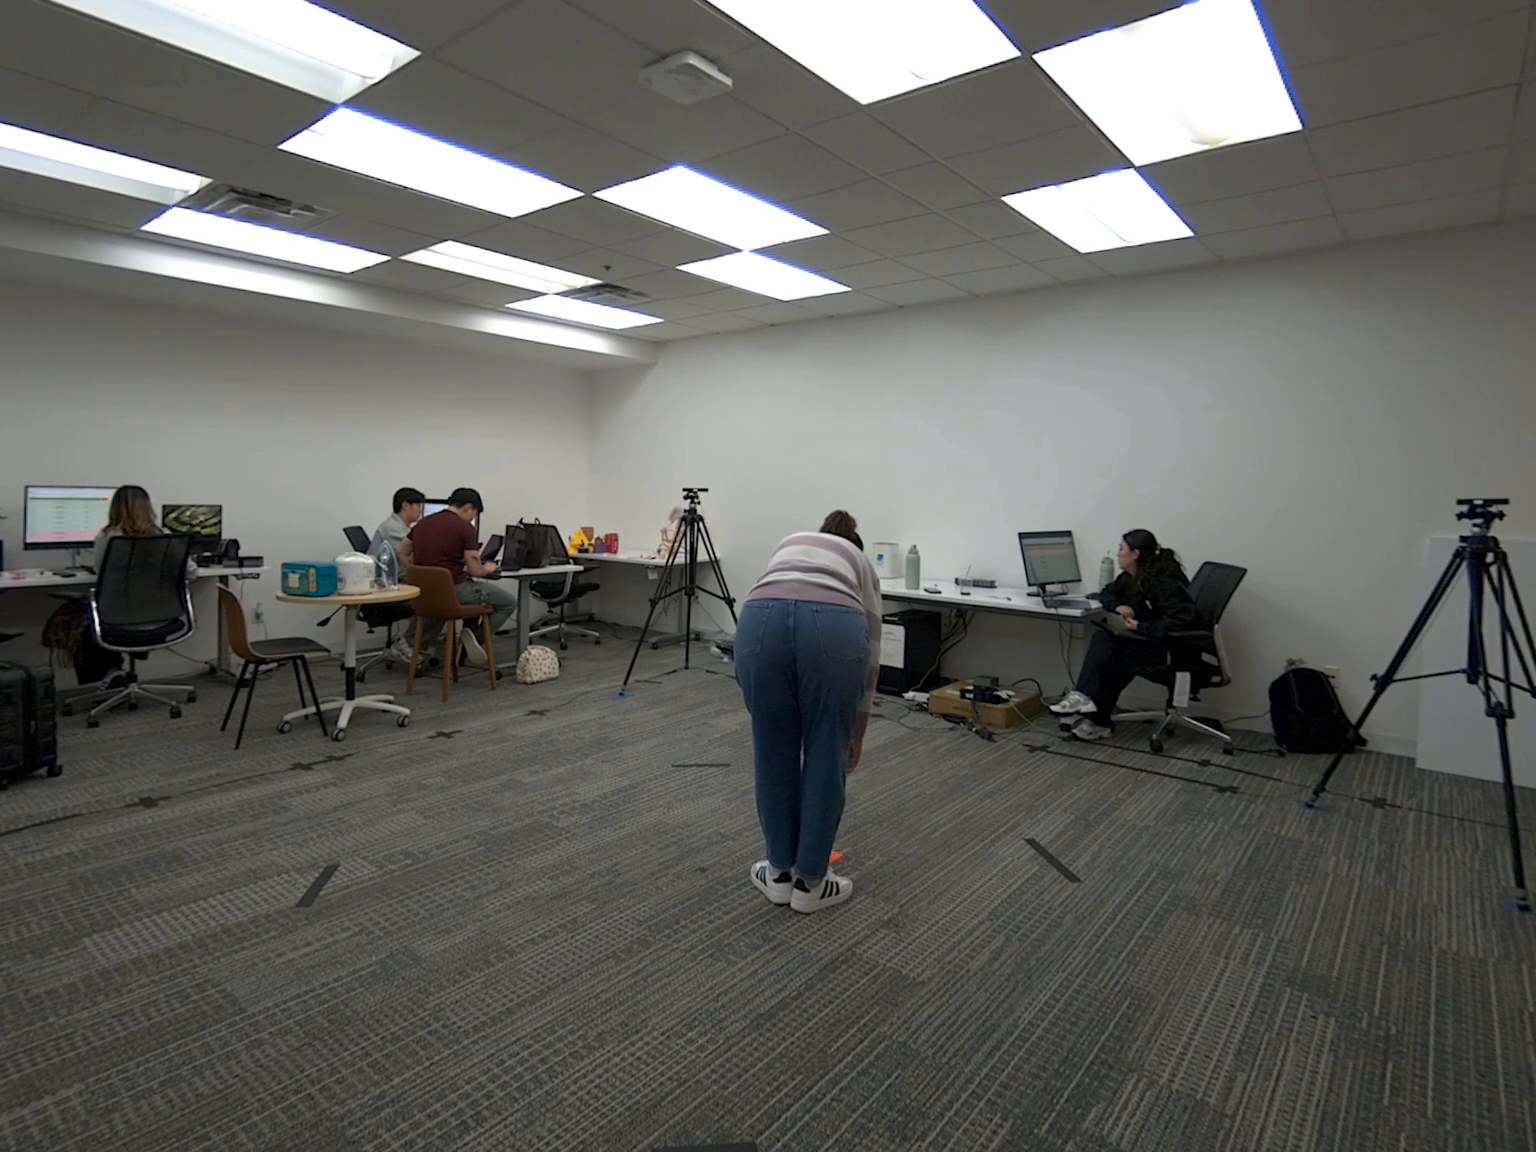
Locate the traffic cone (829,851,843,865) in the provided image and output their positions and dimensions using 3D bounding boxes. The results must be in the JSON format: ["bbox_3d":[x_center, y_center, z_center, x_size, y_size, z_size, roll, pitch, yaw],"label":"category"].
[{"bbox_3d":[0.142,0.870,3.231,0.210,0.383,0.199,3,4,38],"label":"traffic cone"}]
